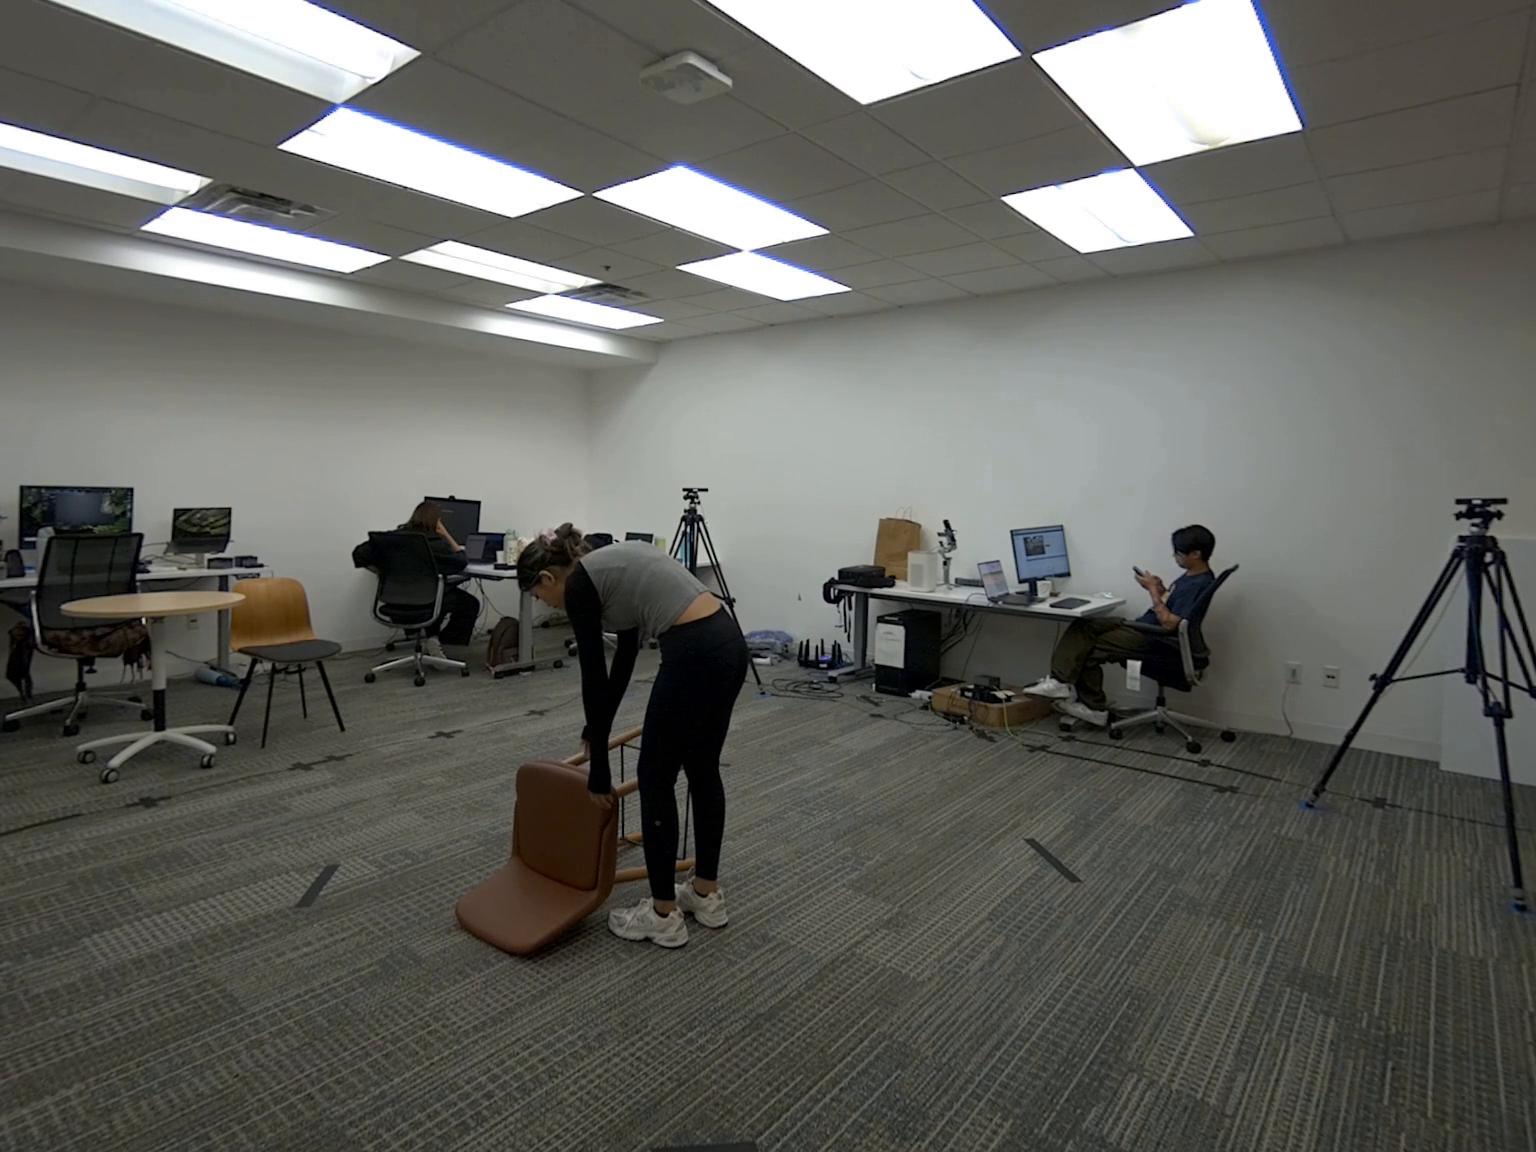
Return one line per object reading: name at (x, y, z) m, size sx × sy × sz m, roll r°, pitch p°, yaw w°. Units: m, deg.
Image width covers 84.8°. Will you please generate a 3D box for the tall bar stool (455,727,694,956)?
tall bar stool at (-0.604, 0.854, 2.913) m, size 0.471 × 0.466 × 0.864 m, roll 5°, pitch 6°, yaw 36°
